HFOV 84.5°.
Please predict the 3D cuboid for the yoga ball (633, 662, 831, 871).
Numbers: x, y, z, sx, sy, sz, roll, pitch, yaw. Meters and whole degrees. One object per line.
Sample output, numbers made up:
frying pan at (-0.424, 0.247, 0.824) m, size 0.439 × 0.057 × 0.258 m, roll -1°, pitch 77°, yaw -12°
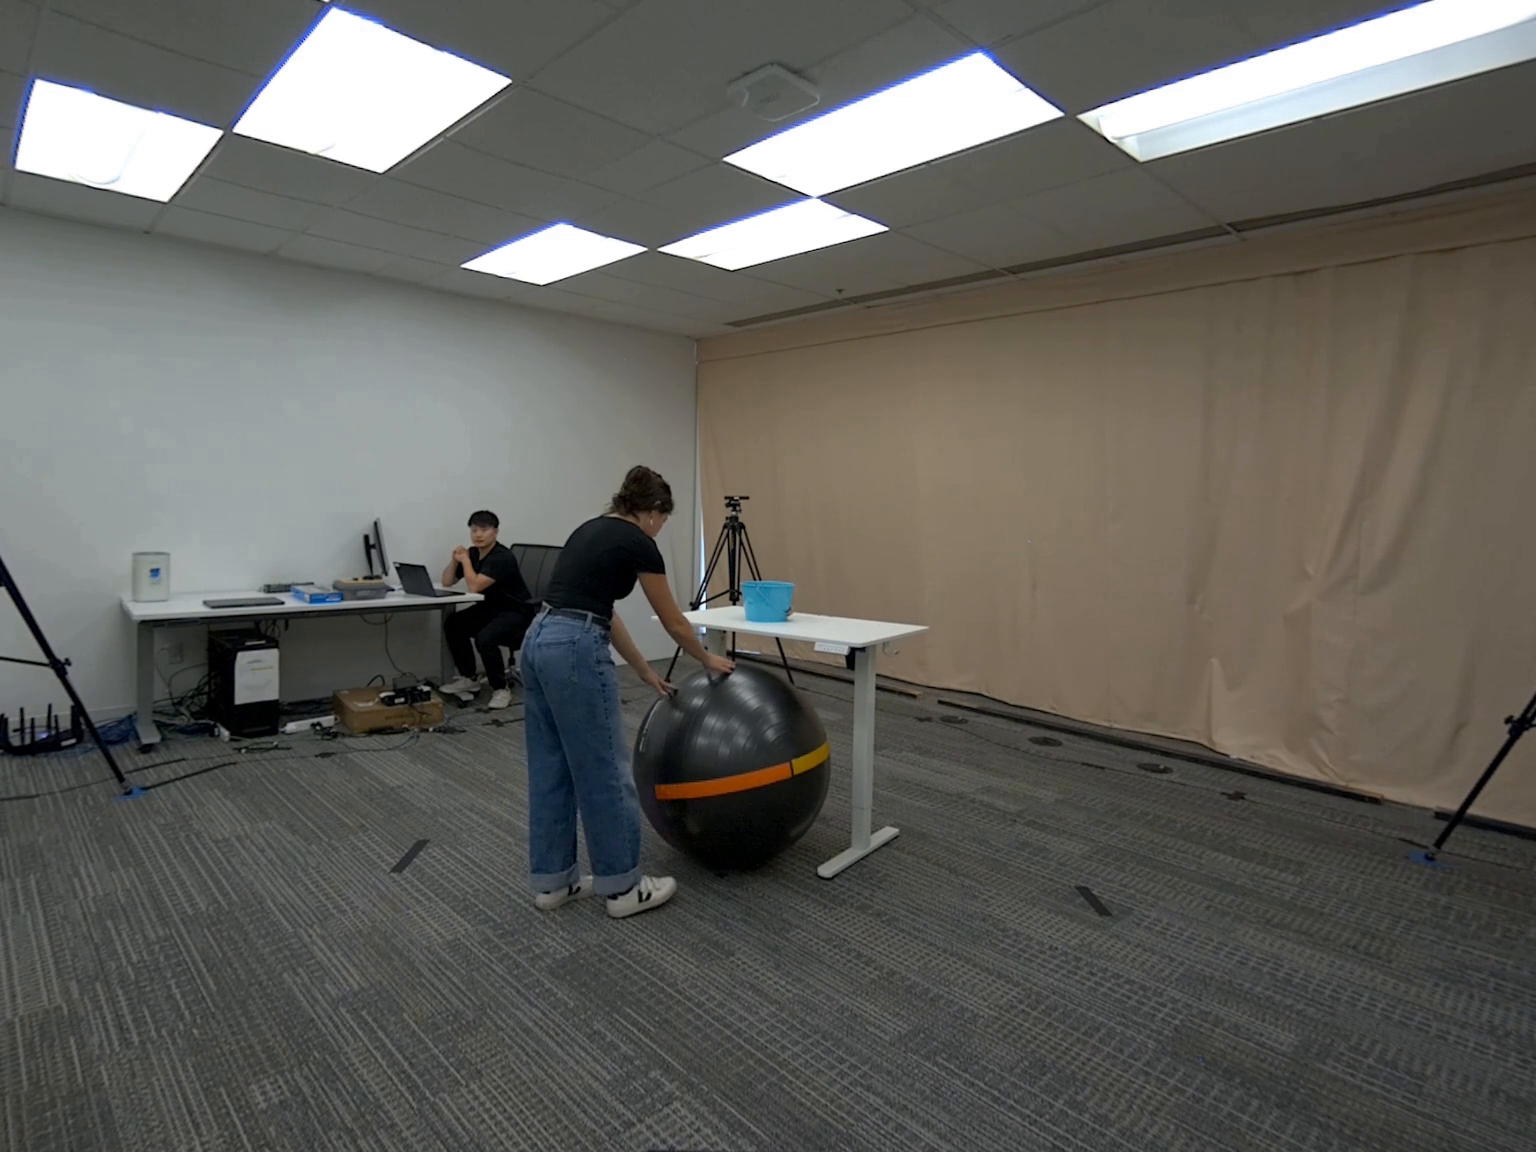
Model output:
yoga ball at (-0.140, 0.720, 3.248) m, size 0.757 × 0.756 × 0.761 m, roll 1°, pitch 4°, yaw -1°
